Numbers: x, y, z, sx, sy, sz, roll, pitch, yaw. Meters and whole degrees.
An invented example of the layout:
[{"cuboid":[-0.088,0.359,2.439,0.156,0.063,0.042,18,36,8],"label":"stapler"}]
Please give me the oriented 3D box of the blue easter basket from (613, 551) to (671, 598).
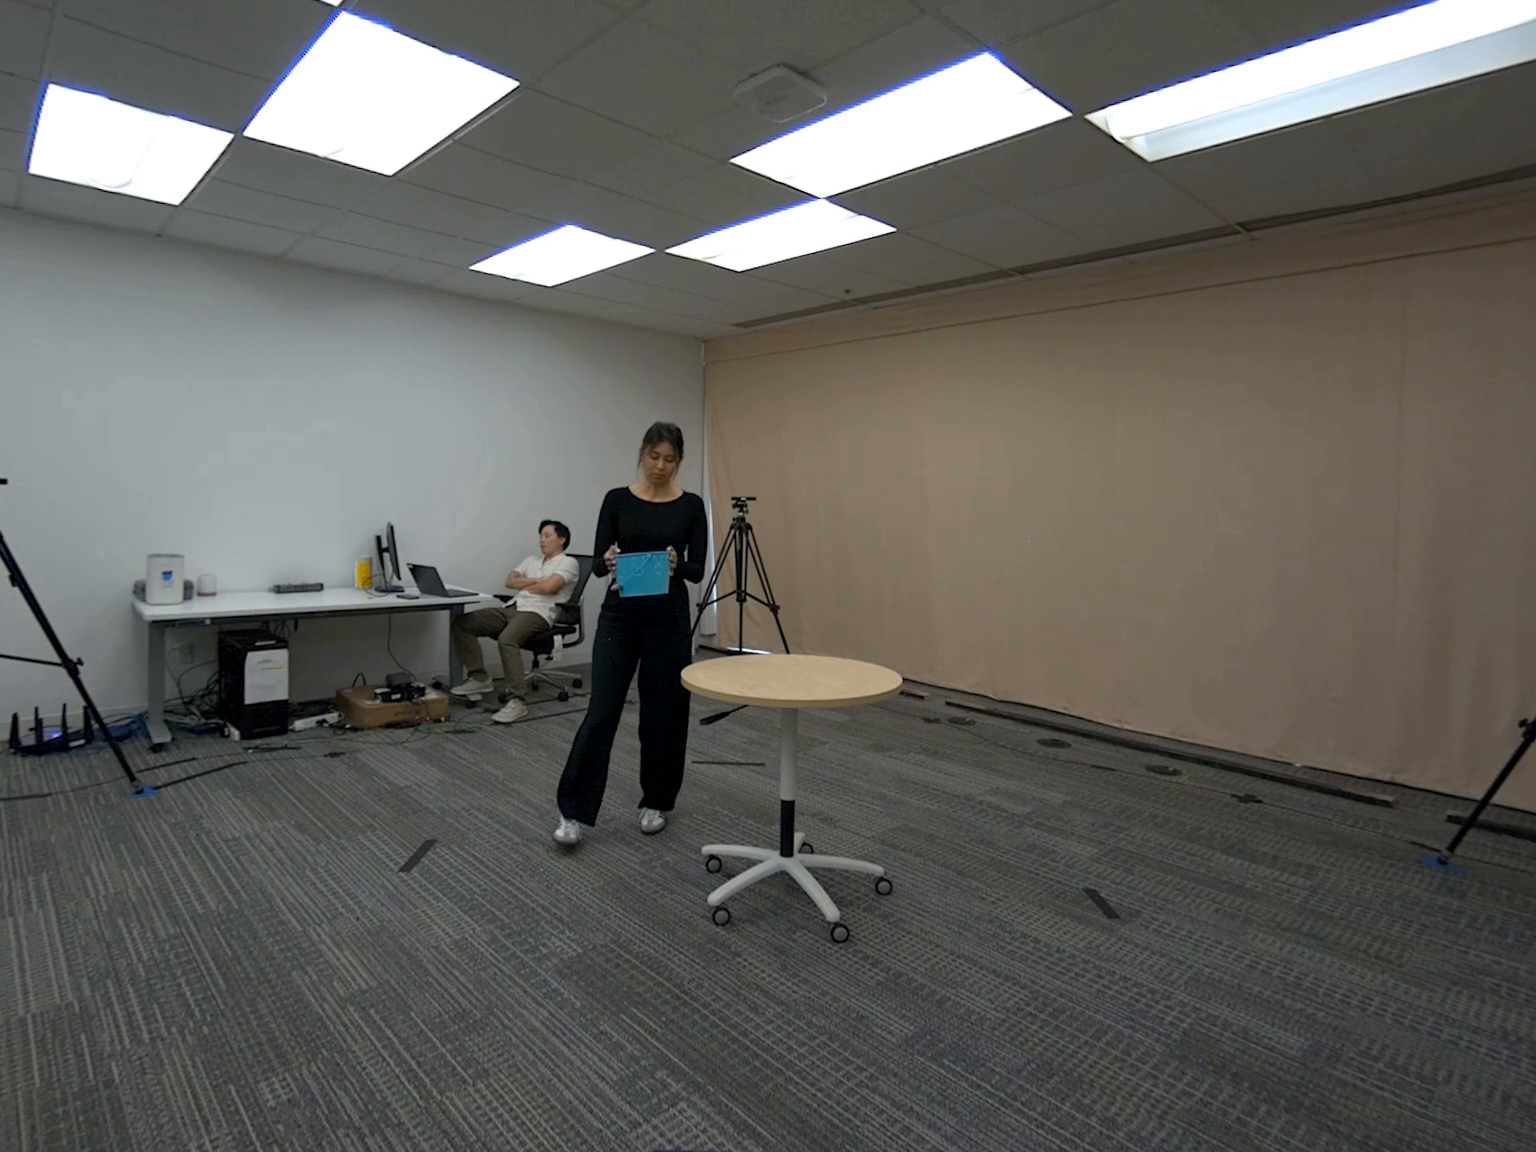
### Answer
[{"cuboid":[-0.497,0.000,3.138,0.243,0.156,0.244,-4,1,-1],"label":"blue easter basket"}]
